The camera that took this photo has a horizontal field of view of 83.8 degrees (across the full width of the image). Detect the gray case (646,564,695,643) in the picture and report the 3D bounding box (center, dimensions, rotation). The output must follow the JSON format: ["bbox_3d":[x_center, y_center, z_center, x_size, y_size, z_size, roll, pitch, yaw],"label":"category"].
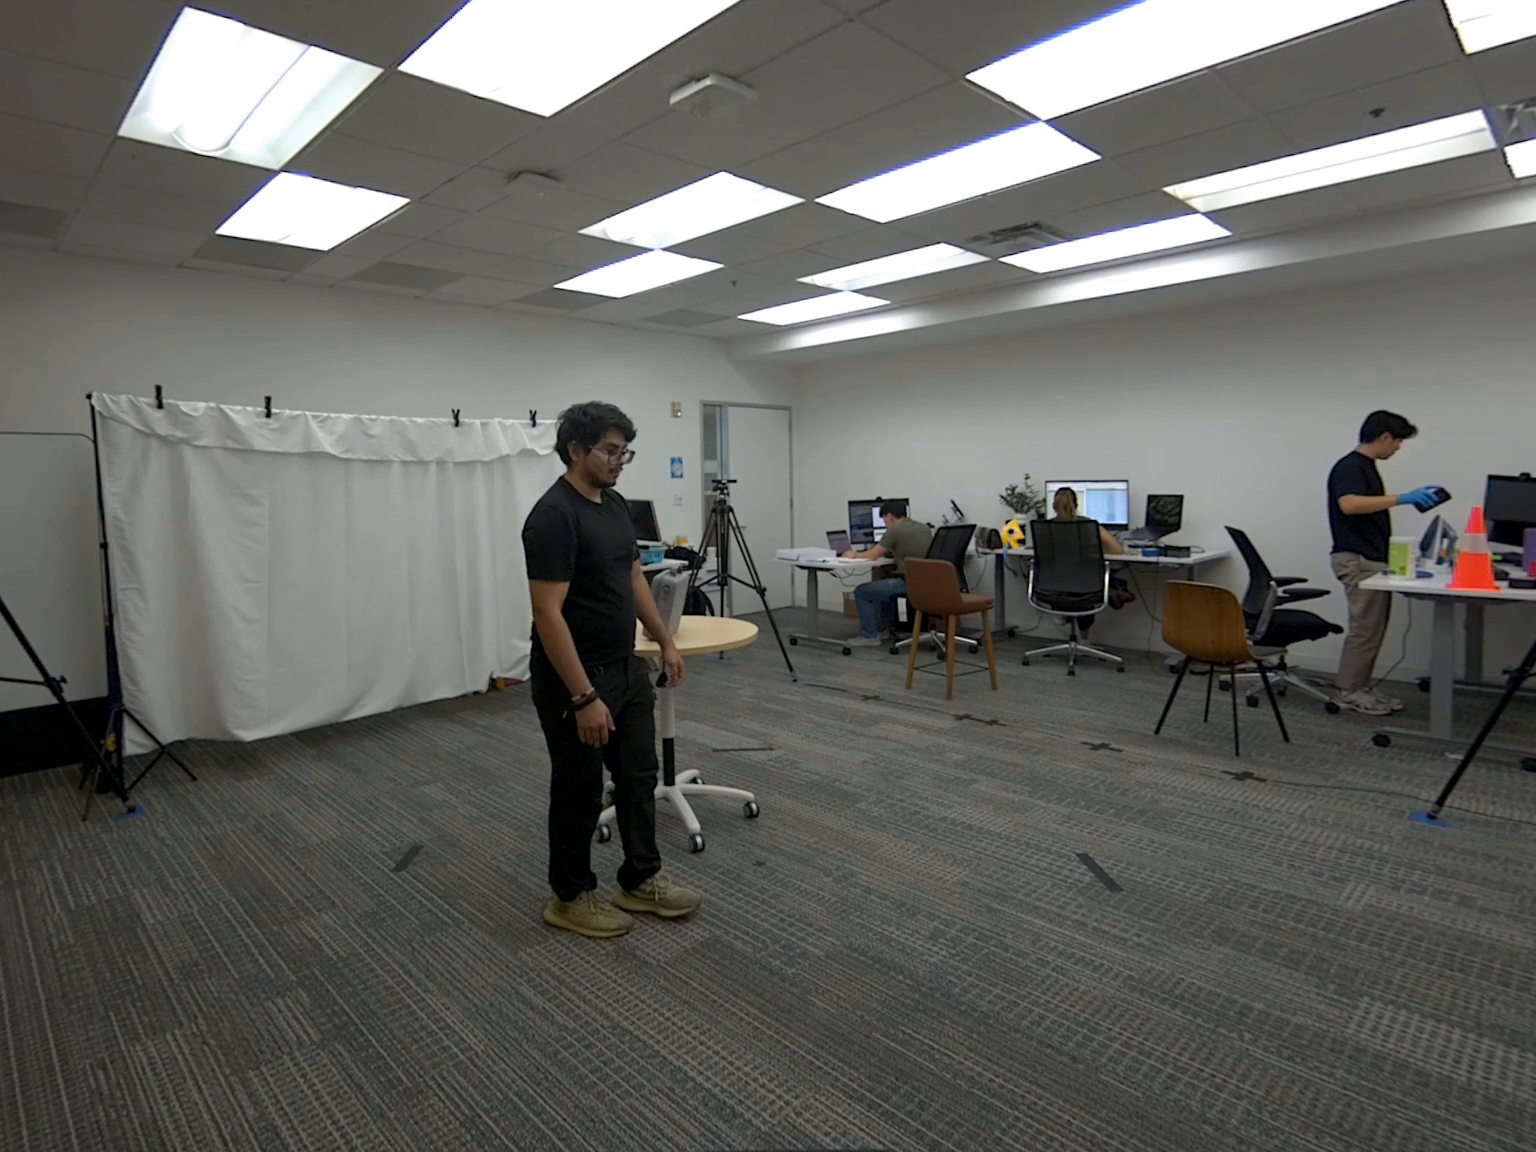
[{"bbox_3d":[-0.384,0.103,3.396,0.105,0.259,0.256,10,6,3],"label":"gray case"}]
